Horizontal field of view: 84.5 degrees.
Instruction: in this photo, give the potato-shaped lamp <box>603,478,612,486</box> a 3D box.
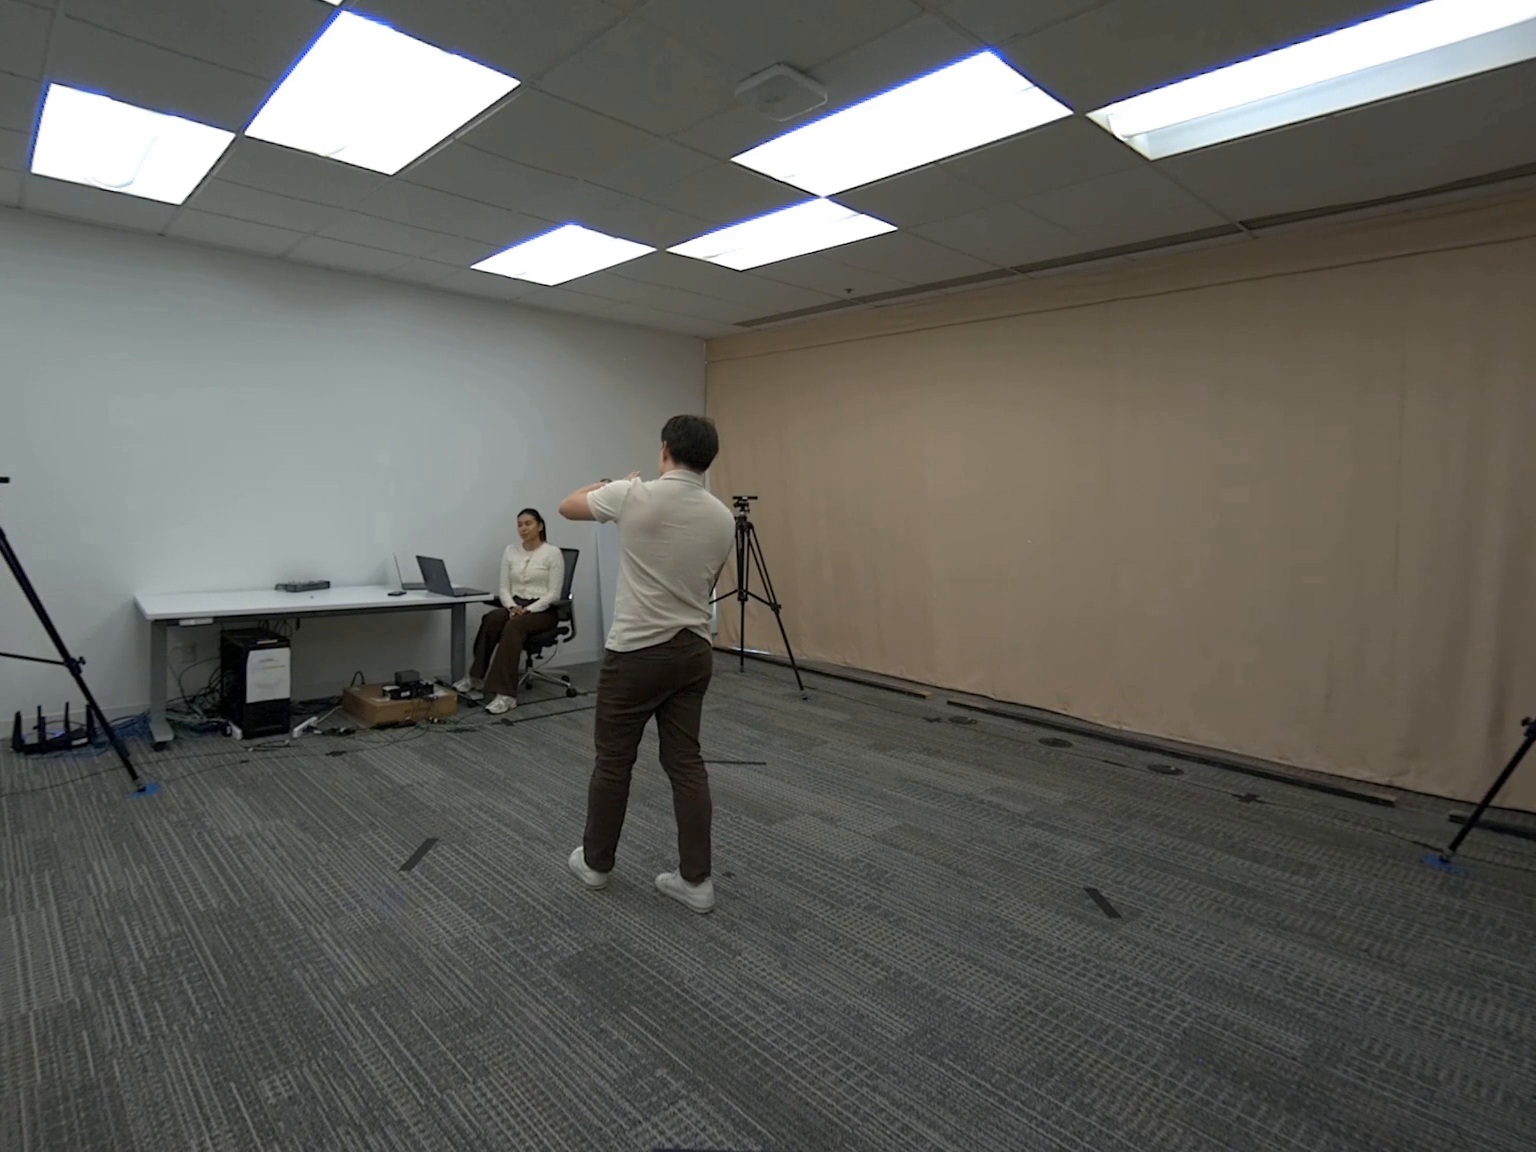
[{"bbox_3d":[-0.496,-0.240,3.205,0.163,0.170,0.202,0,14,-16],"label":"potato-shaped lamp"}]
